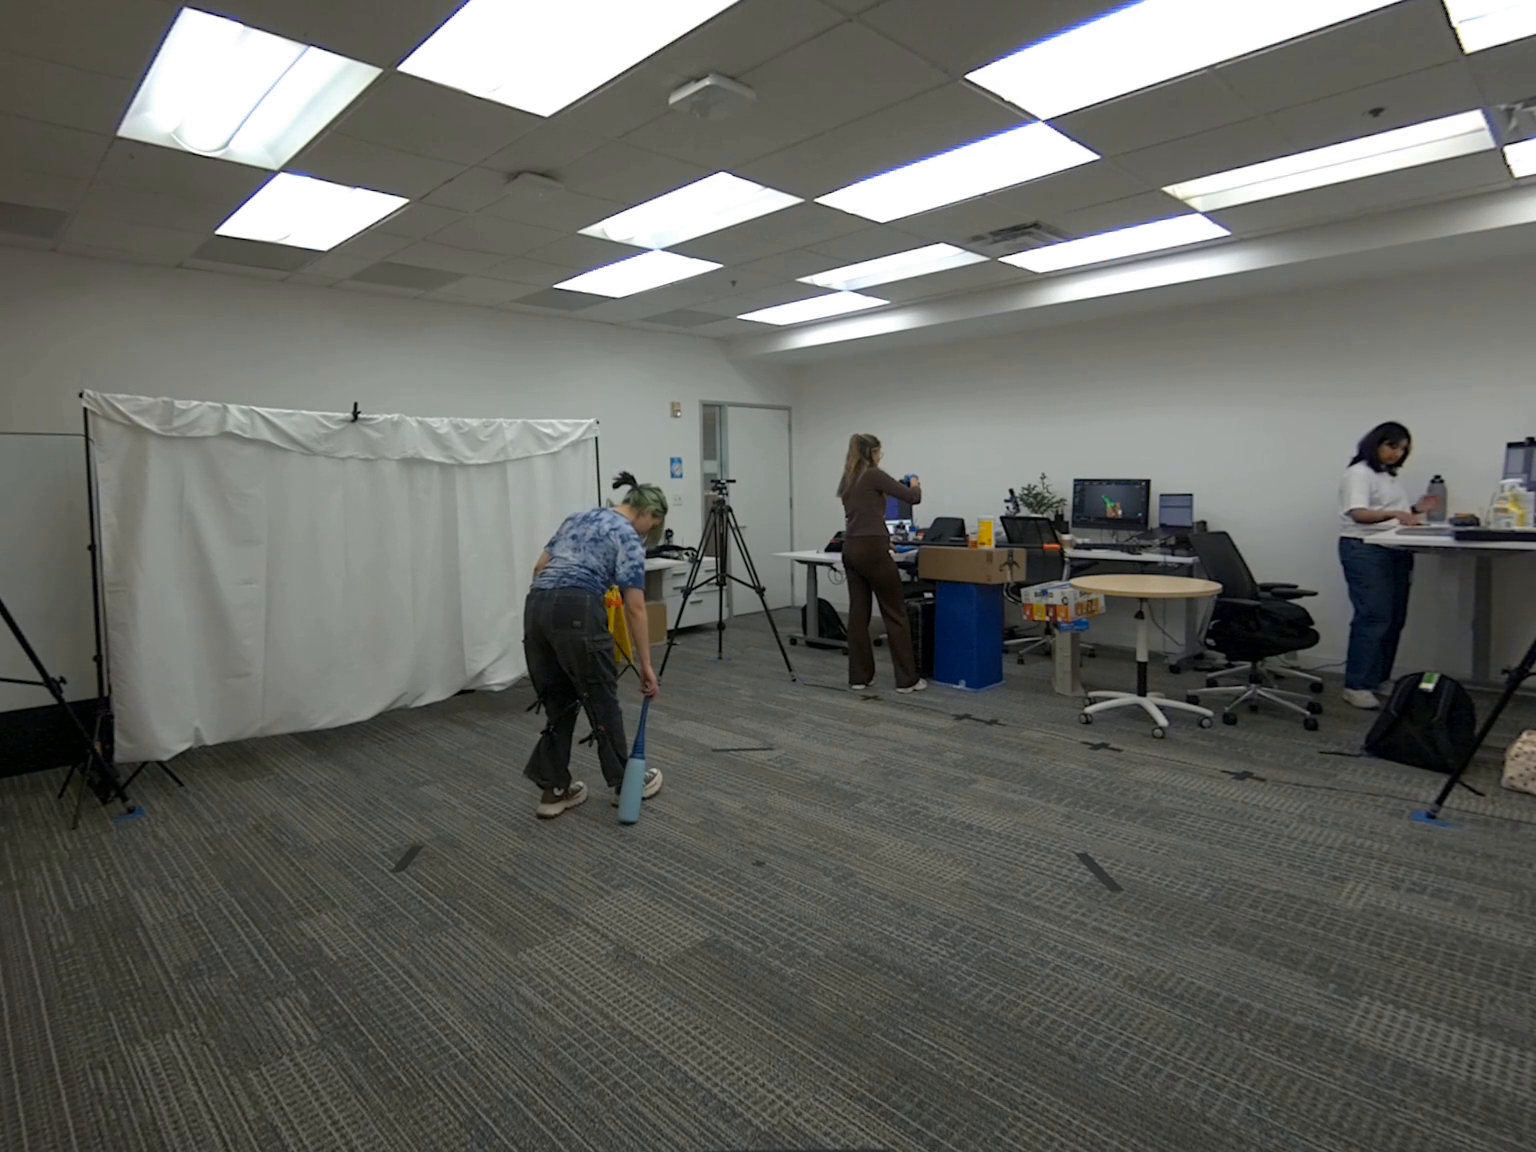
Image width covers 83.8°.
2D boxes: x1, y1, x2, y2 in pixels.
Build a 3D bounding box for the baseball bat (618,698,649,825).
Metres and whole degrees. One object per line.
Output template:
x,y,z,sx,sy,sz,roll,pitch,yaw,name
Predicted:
-0.553,0.744,3.557,0.089,0.549,0.088,5,-14,-1,baseball bat
